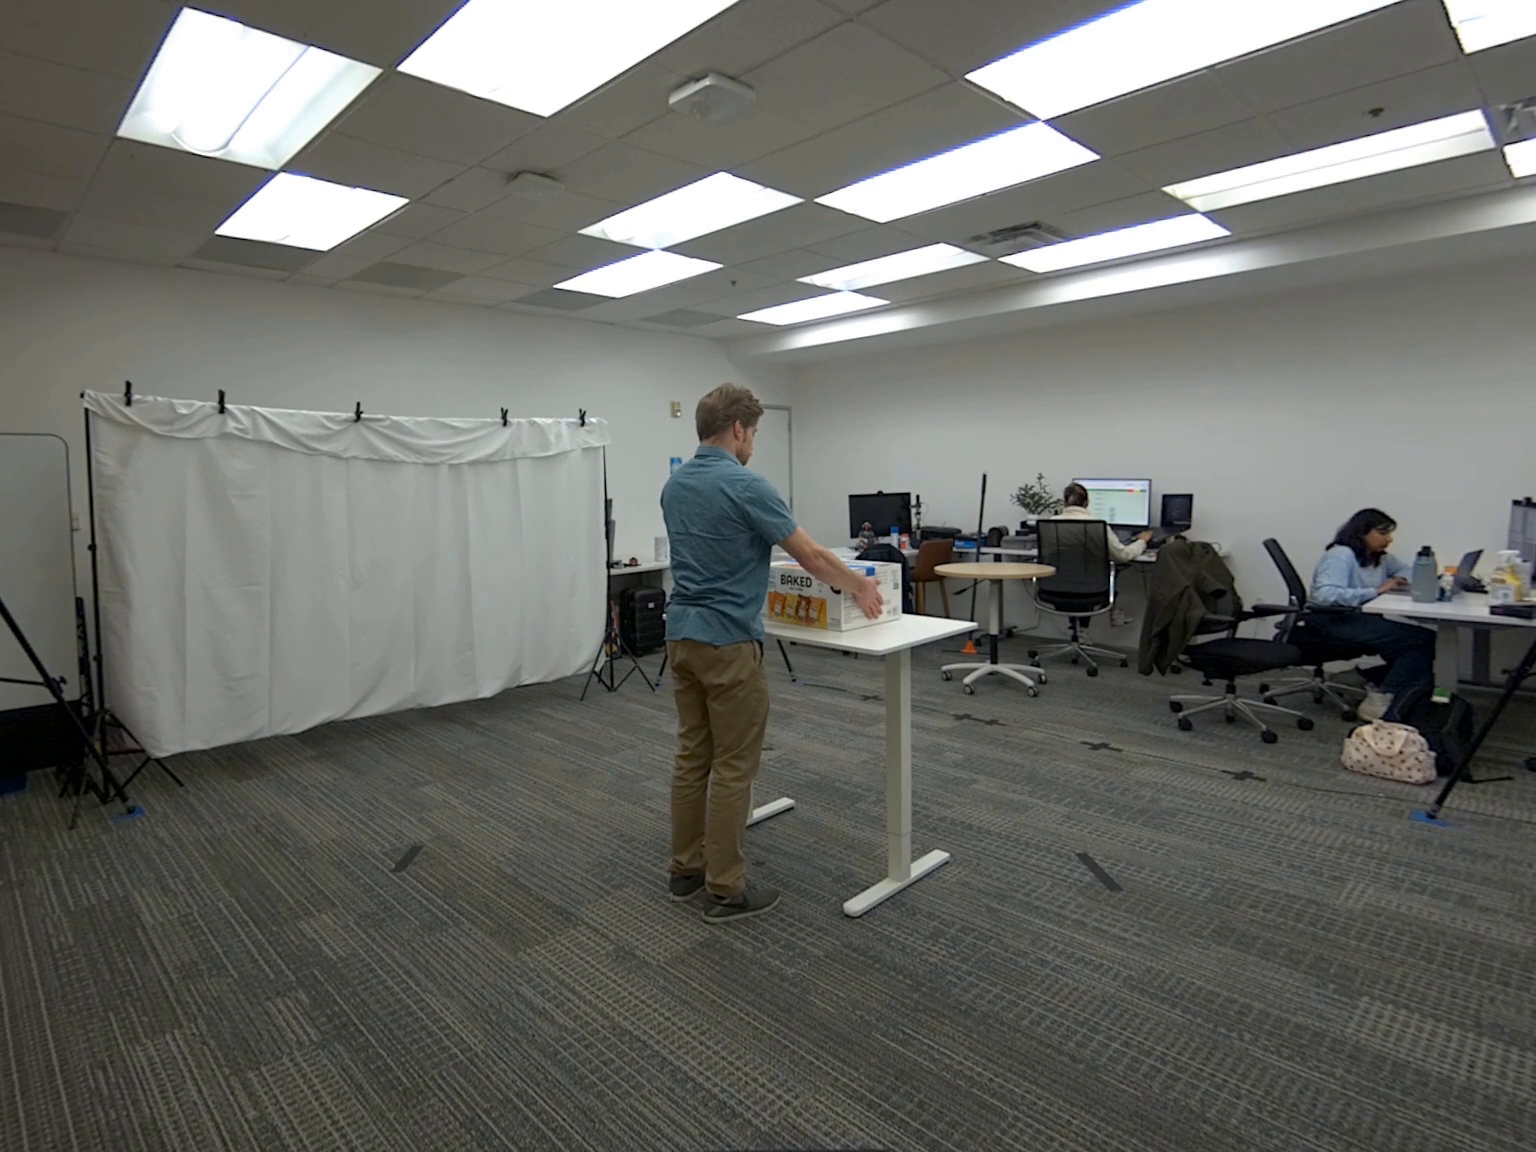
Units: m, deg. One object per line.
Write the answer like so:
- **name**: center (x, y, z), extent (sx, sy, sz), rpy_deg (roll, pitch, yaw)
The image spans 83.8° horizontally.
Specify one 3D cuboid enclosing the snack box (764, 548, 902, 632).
- **snack box**: center (0.221, 0.057, 3.116), extent (0.332, 0.205, 0.418), rpy_deg (-8, 9, -44)
